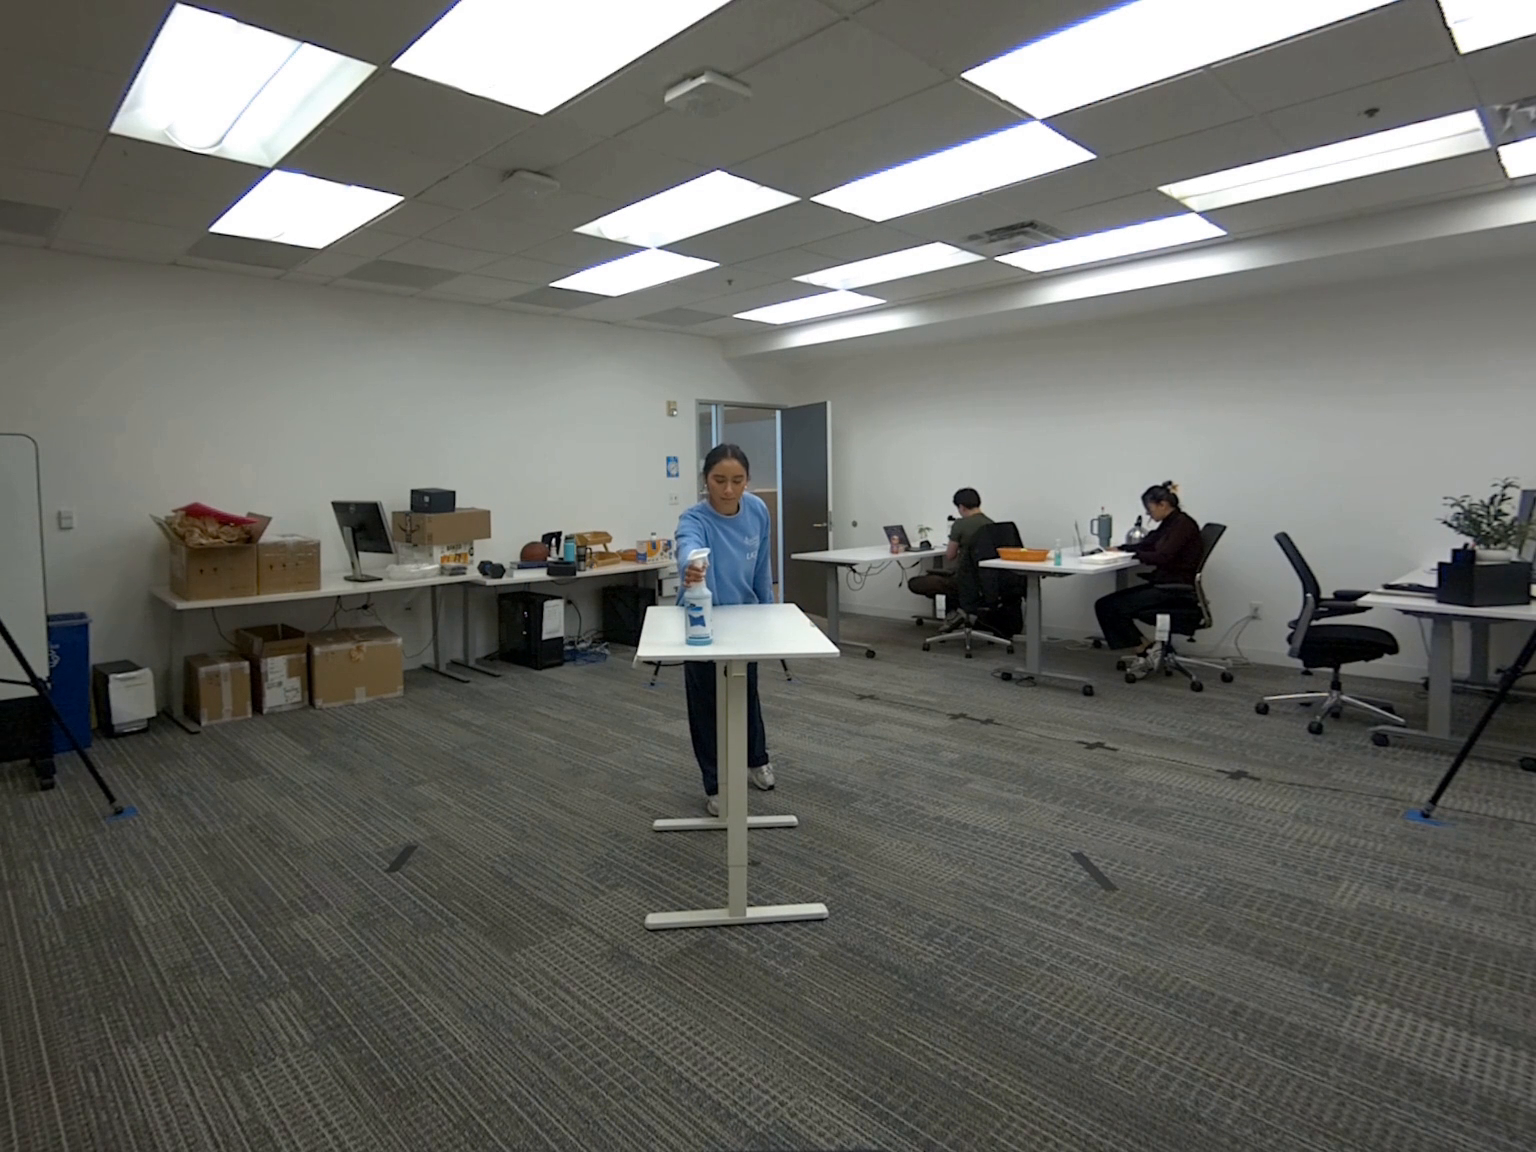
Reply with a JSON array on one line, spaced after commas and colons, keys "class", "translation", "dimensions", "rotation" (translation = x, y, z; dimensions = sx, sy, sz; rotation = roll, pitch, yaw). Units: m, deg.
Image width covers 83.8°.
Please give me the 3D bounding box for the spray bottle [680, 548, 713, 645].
[{"class": "spray bottle", "translation": [-0.218, 0.067, 2.675], "dimensions": [0.088, 0.296, 0.089], "rotation": [0, 4, -21]}]
